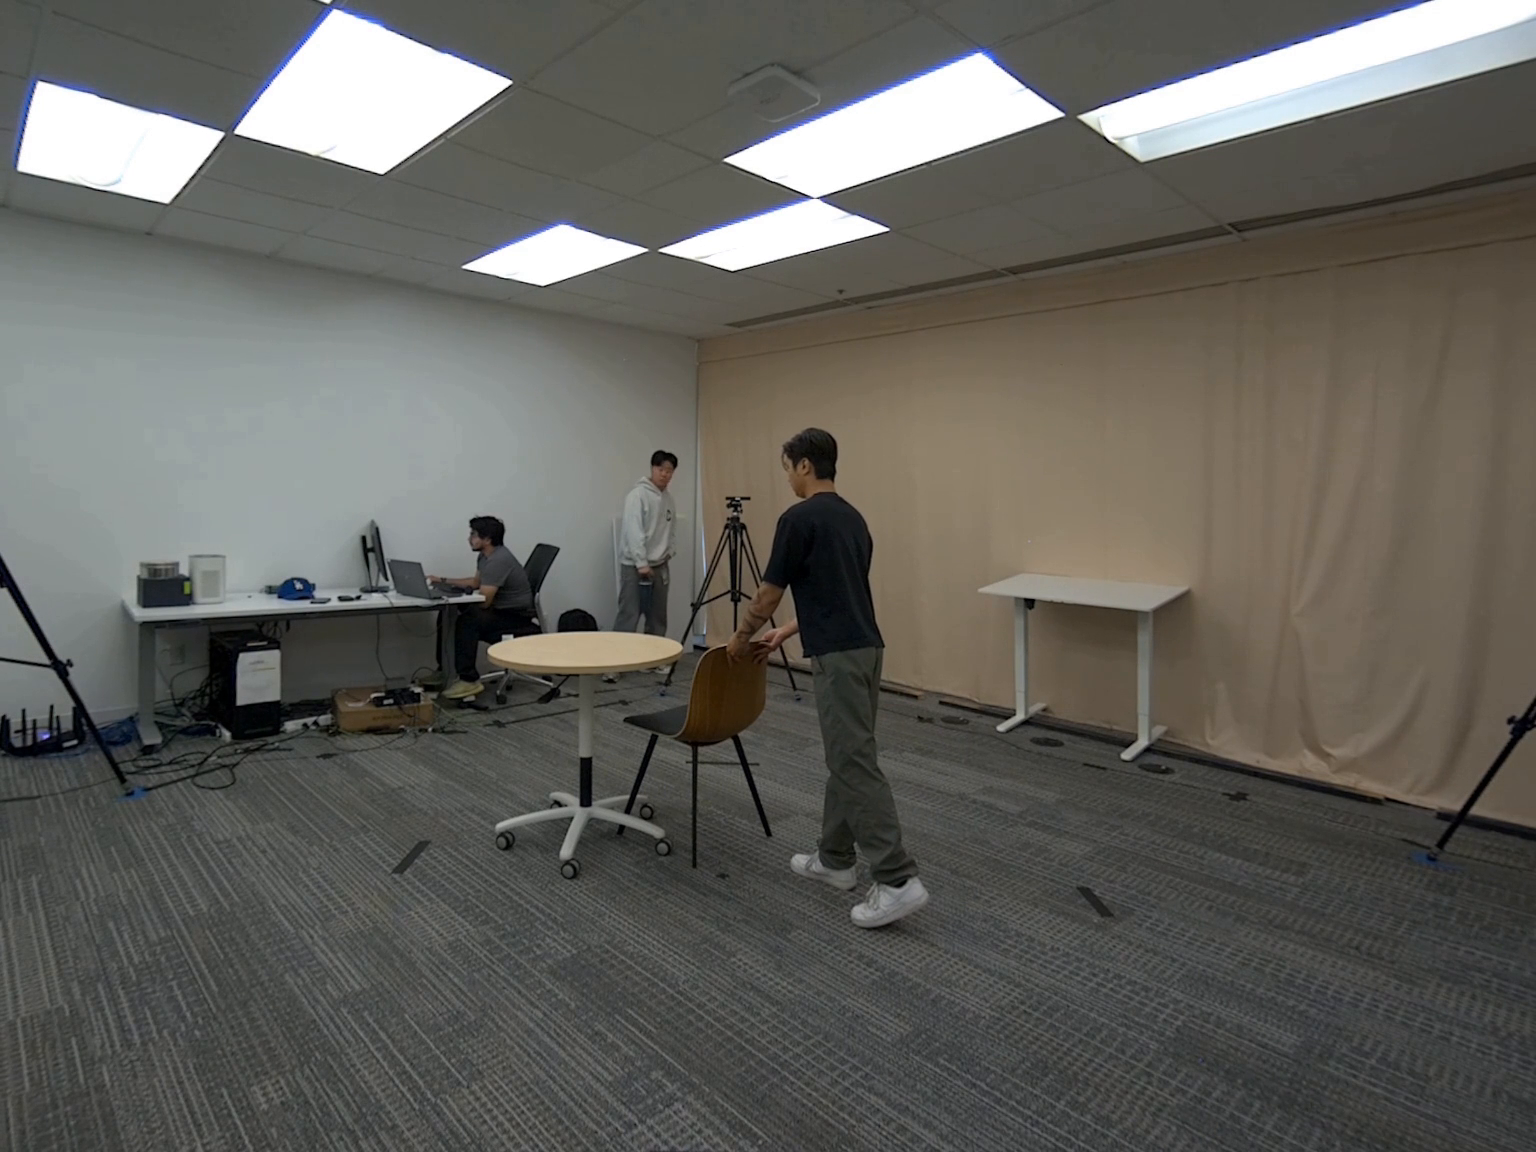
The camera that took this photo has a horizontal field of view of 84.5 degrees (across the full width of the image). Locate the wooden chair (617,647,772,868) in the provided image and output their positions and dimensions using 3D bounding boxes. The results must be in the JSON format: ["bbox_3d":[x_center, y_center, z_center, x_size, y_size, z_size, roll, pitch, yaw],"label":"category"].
[{"bbox_3d":[-0.302,0.642,3.444,0.537,0.874,0.467,11,8,41],"label":"wooden chair"}]
